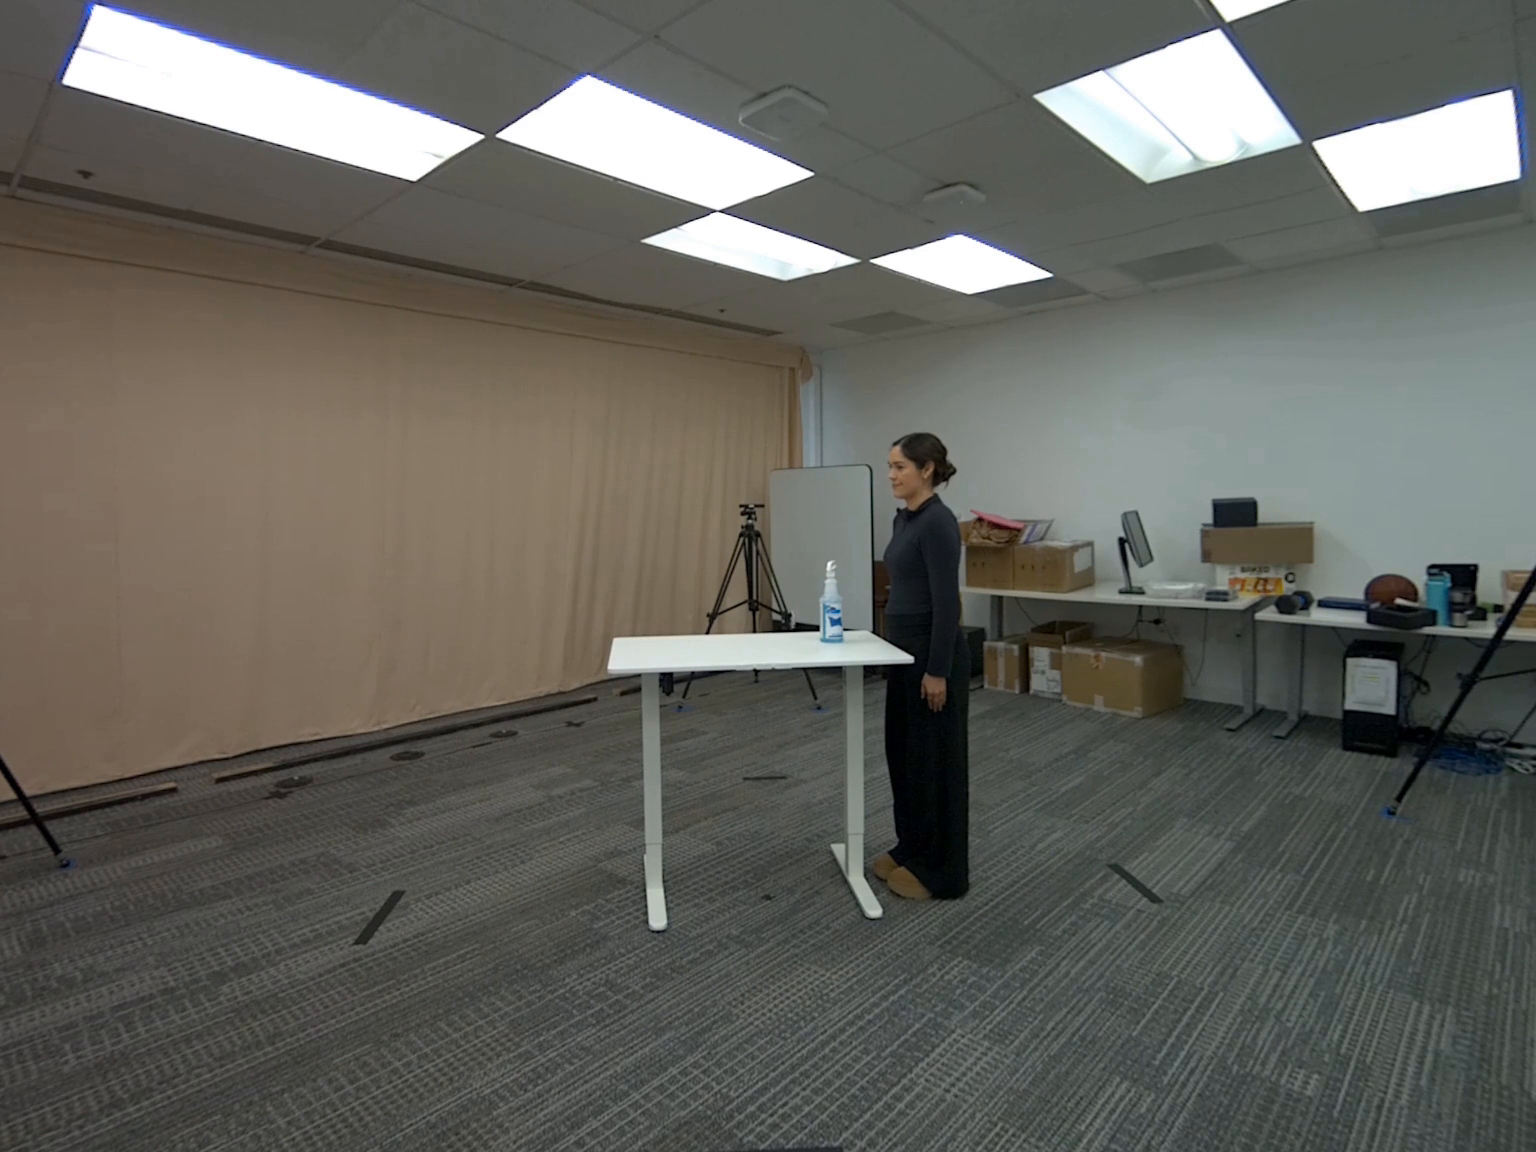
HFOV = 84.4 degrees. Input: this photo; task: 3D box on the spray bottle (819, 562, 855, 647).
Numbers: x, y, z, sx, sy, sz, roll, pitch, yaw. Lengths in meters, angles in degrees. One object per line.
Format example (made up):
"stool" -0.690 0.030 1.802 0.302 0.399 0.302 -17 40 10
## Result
"spray bottle" 0.250 0.100 3.109 0.090 0.297 0.087 3 3 43
